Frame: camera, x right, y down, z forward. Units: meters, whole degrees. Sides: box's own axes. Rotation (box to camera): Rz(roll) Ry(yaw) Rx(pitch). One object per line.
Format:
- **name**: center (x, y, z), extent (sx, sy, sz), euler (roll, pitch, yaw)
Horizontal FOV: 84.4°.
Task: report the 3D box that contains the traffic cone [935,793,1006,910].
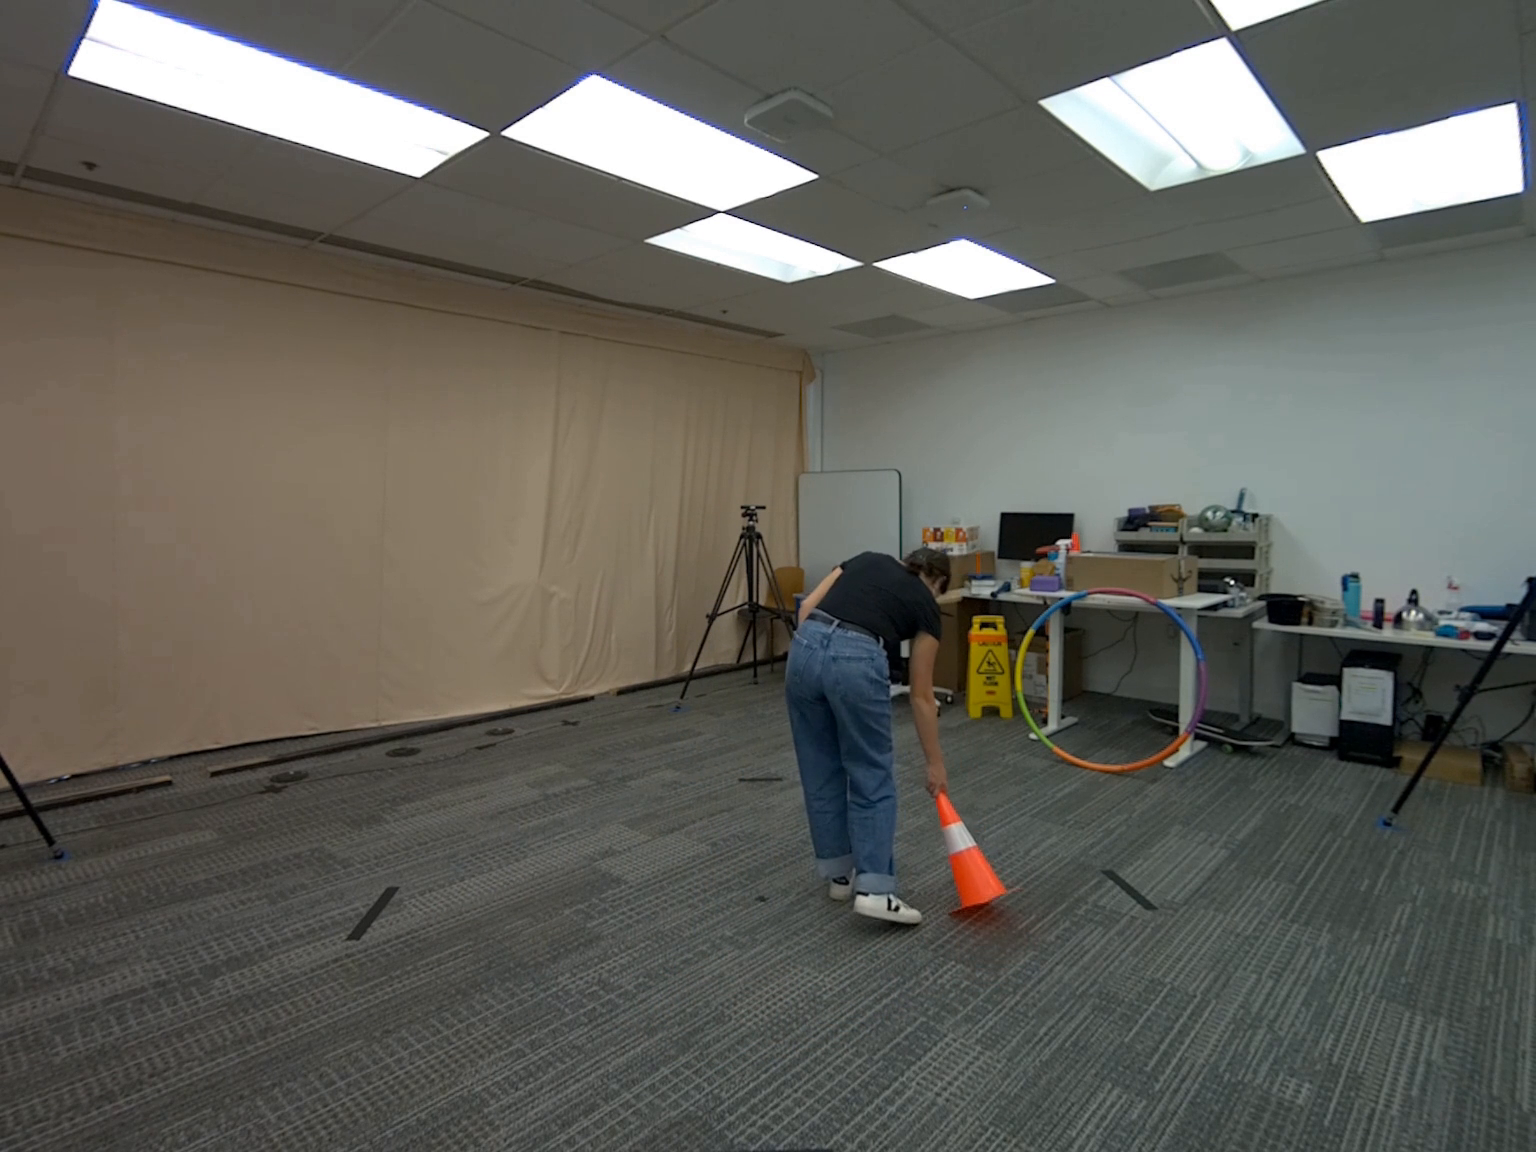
- **traffic cone**: center (0.678, 0.940, 2.913), extent (0.199, 0.392, 0.205), euler (-8, -26, -25)
